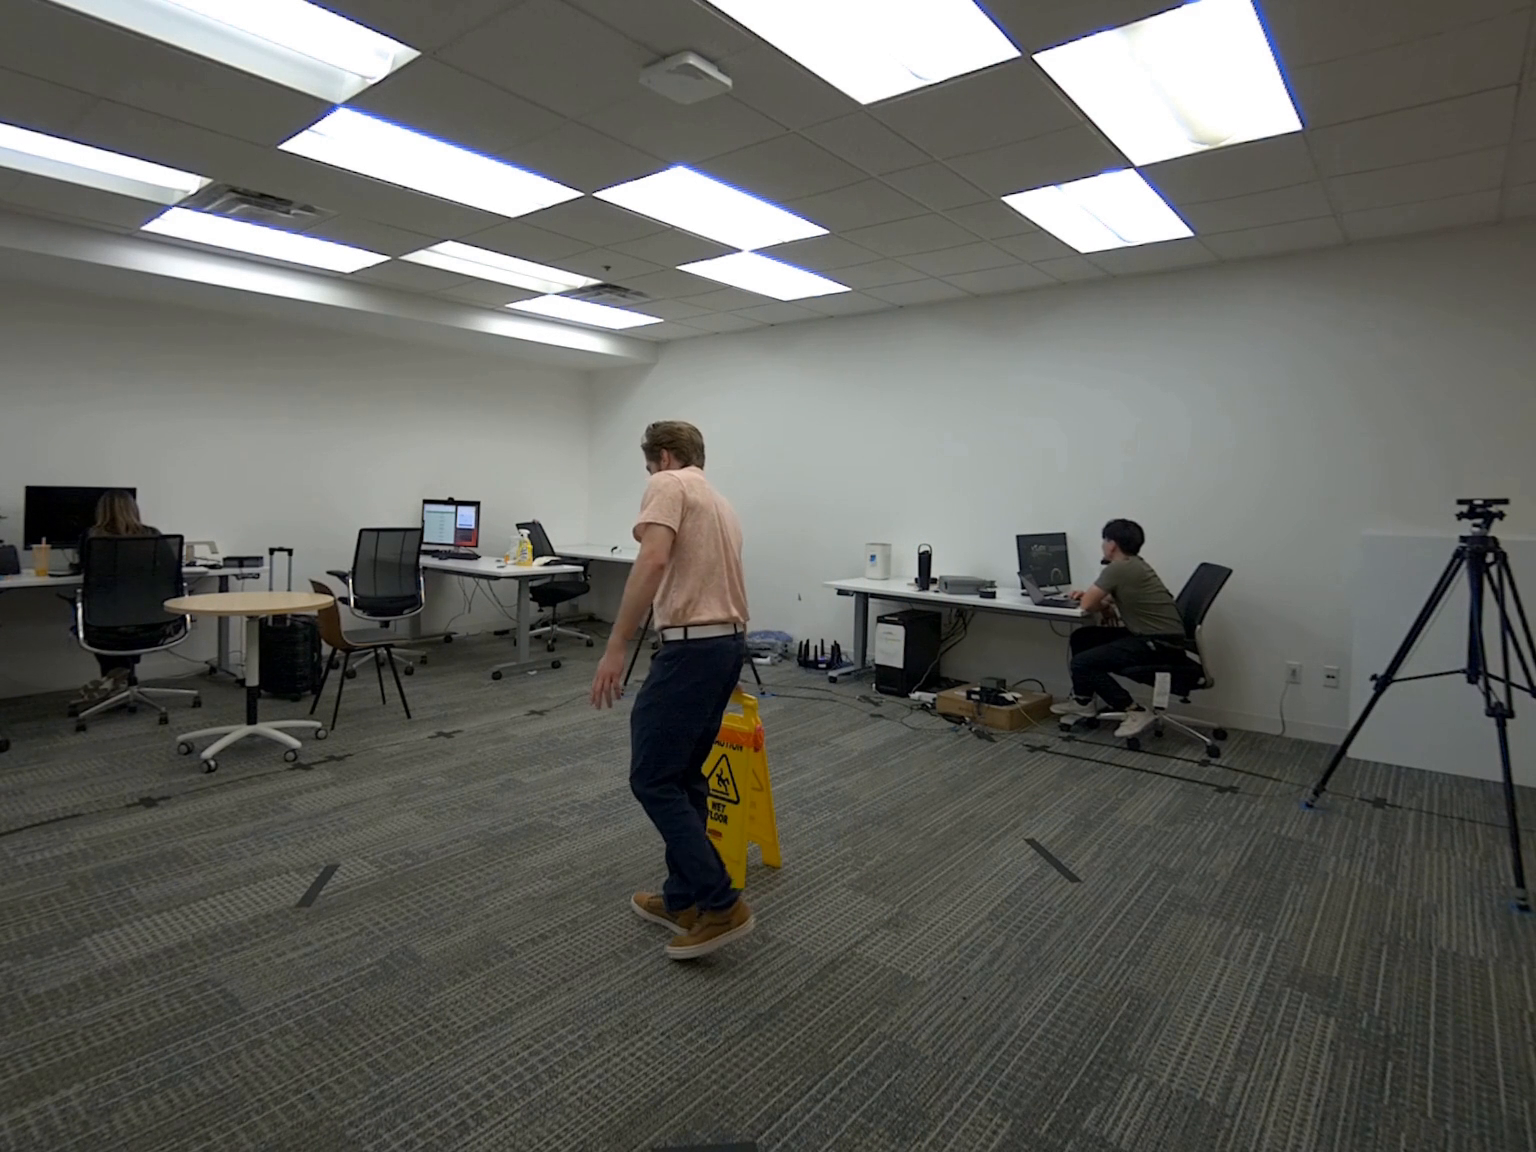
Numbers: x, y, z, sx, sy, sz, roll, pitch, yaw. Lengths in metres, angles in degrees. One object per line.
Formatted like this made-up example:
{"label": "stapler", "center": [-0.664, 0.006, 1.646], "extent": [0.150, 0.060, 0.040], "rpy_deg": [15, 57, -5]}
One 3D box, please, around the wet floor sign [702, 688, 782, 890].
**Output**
{"label": "wet floor sign", "center": [-0.139, 0.744, 3.100], "extent": [0.291, 0.644, 0.281], "rpy_deg": [3, 4, 36]}
